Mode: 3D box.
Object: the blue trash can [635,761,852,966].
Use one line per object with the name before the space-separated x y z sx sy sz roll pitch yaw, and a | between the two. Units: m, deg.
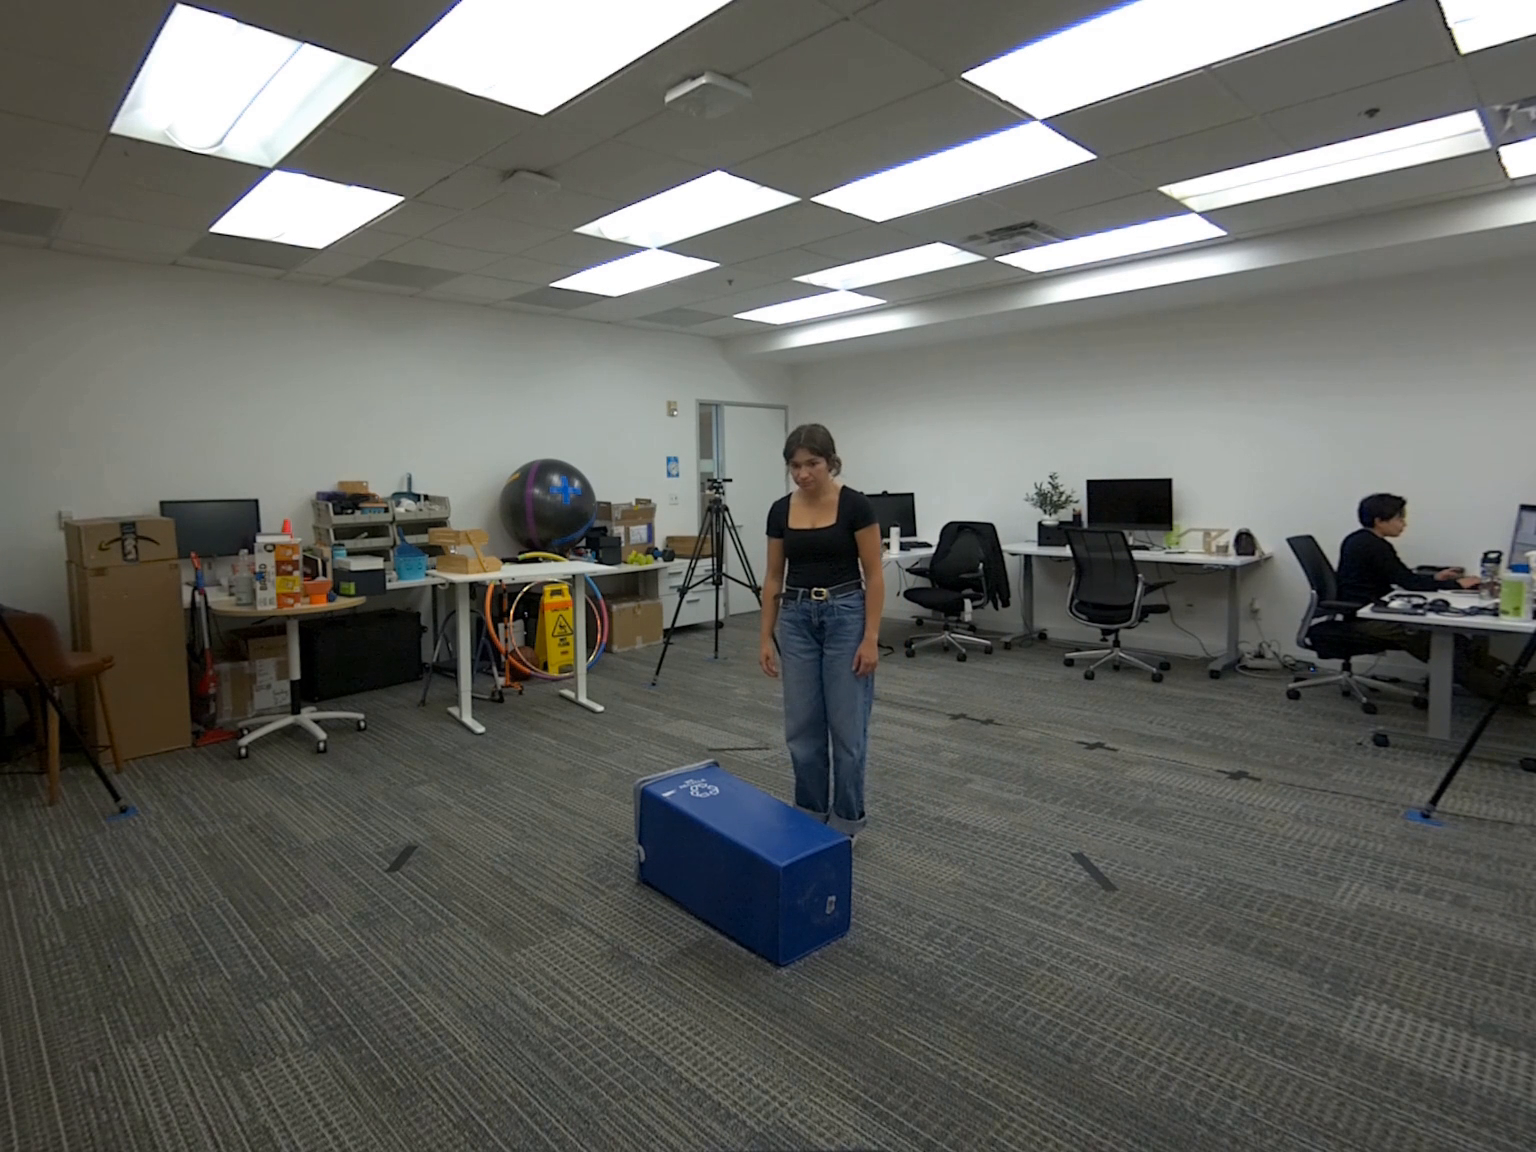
blue trash can | -0.093 0.920 2.780 0.368 0.372 0.737 -4 10 -39
